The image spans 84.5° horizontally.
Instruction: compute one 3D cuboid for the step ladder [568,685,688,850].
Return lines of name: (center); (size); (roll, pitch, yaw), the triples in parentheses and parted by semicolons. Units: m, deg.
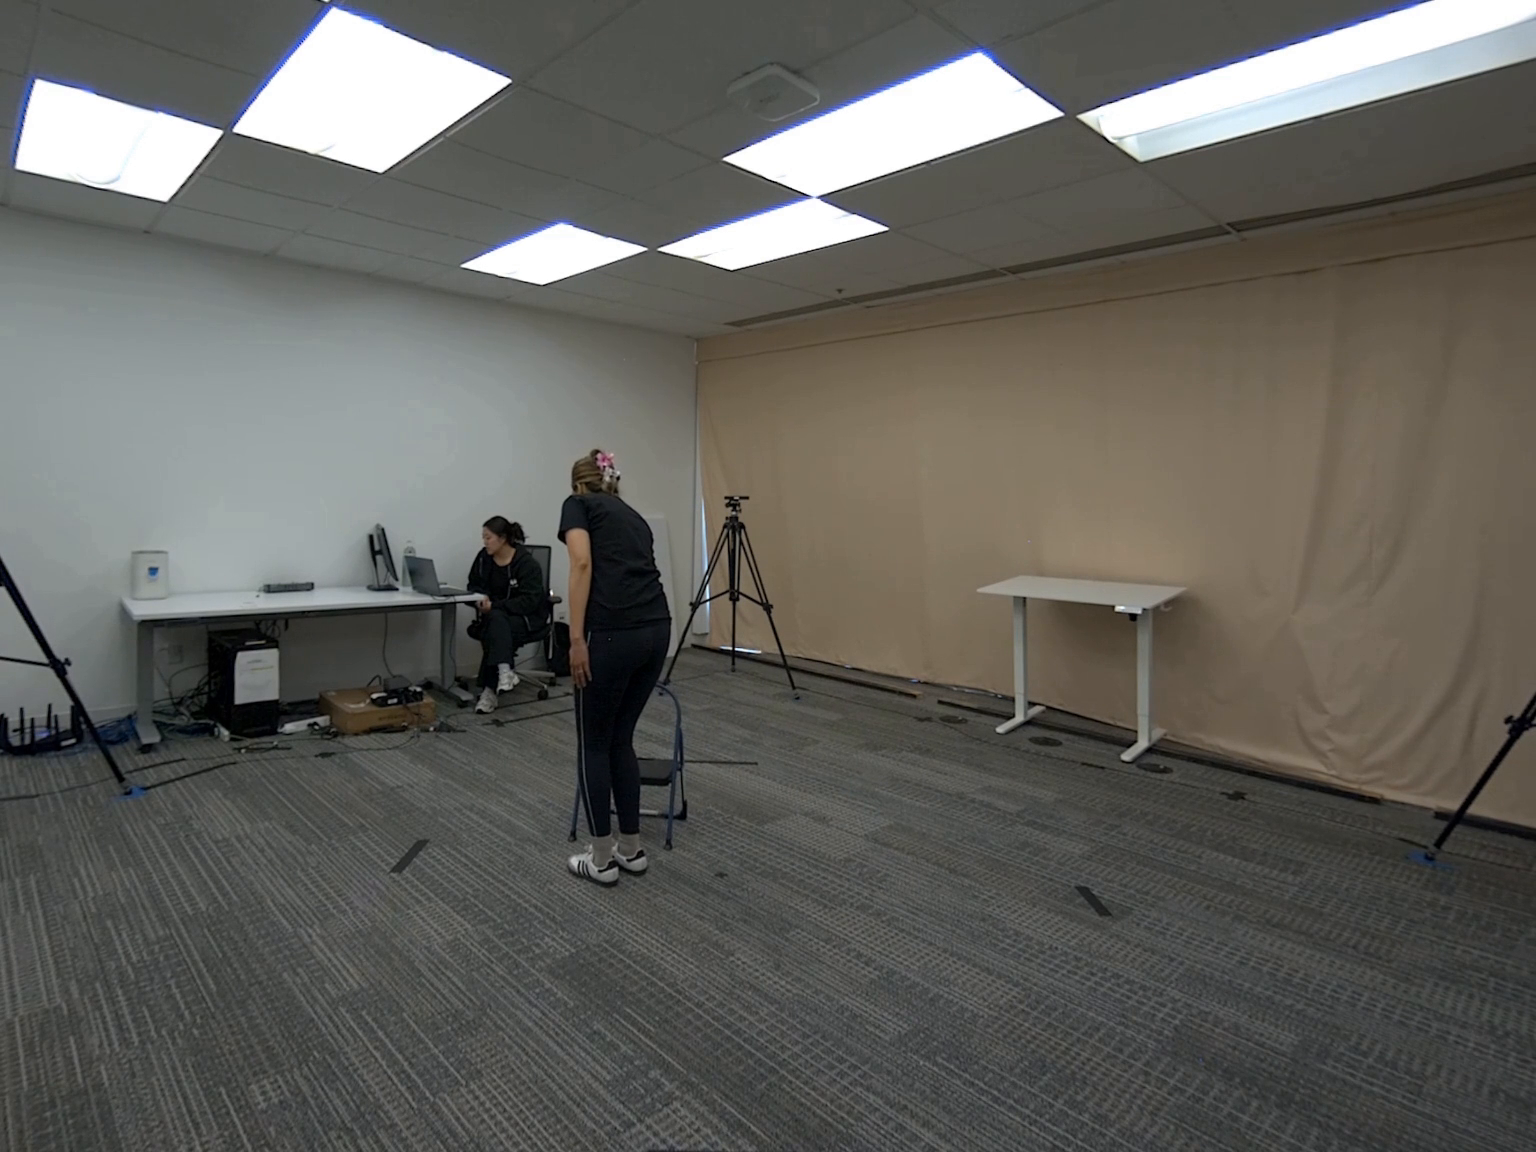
step ladder: (-0.572, 0.759, 3.499); (0.433, 0.604, 0.348); (2, 4, 7)
